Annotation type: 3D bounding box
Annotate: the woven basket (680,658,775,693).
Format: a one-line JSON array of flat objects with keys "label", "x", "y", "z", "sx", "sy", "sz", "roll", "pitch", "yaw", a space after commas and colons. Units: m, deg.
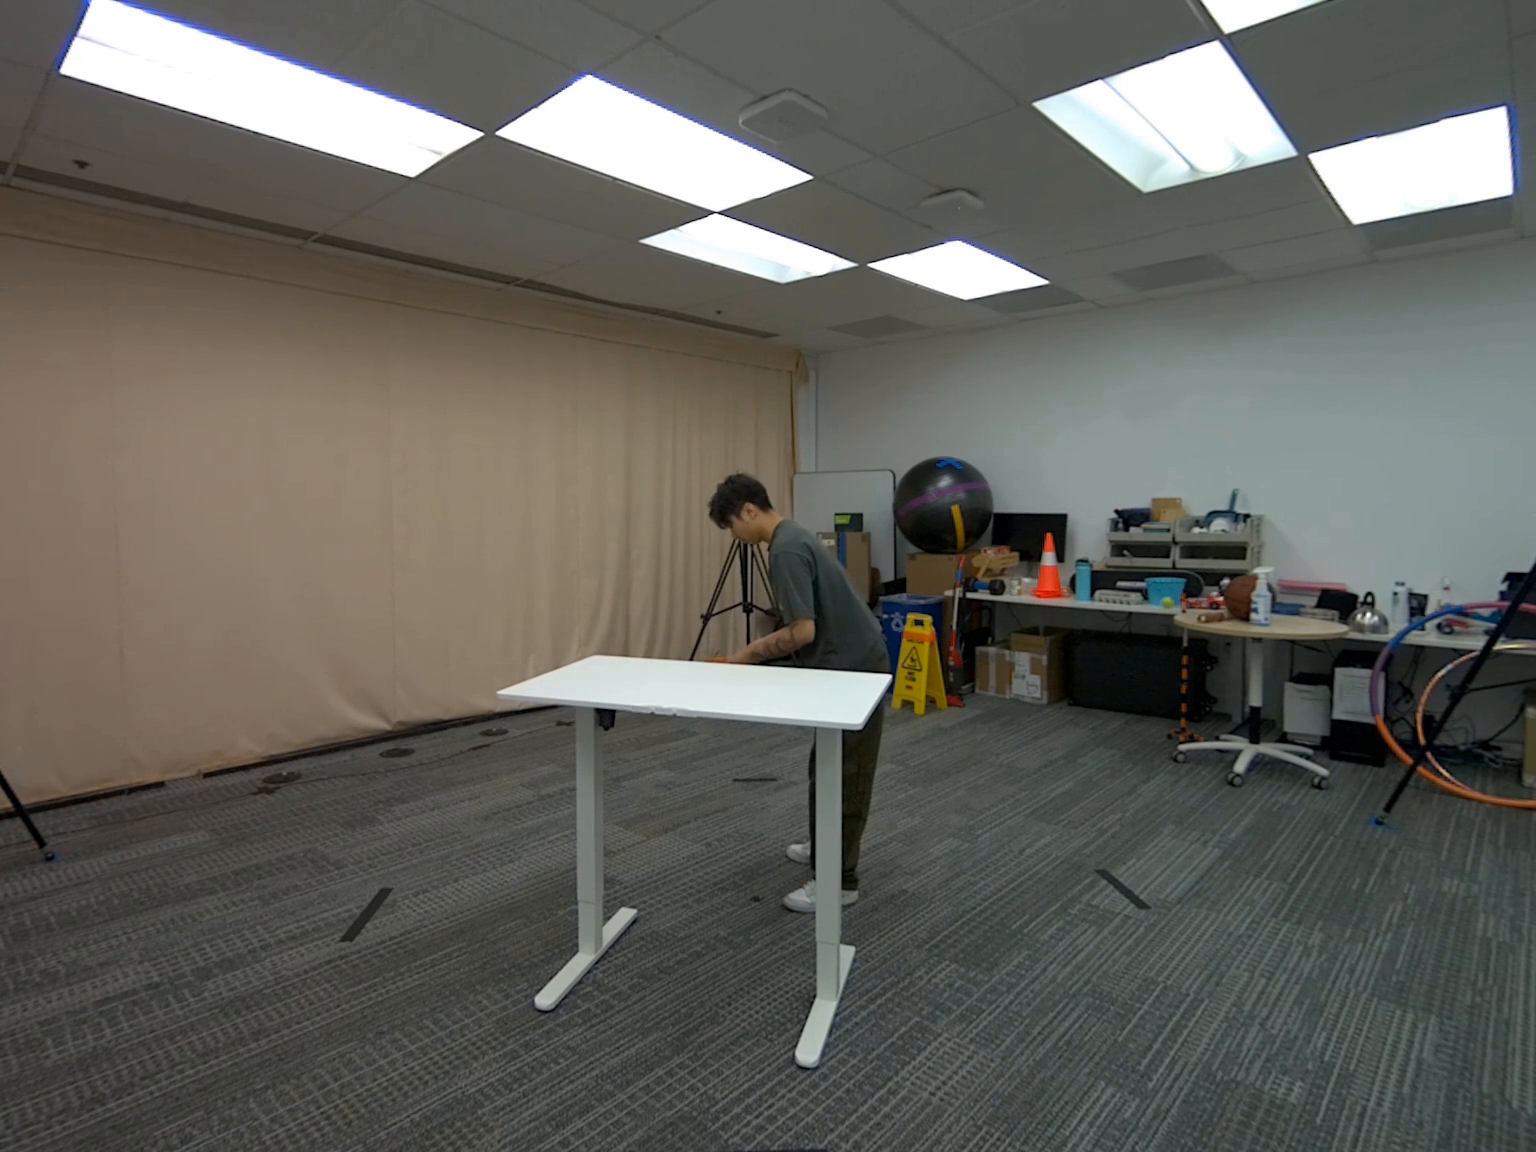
[{"label": "woven basket", "x": -0.146, "y": 0.368, "z": 3.182, "sx": 0.257, "sy": 0.073, "sz": 0.344, "roll": -2, "pitch": 1, "yaw": 17}]
